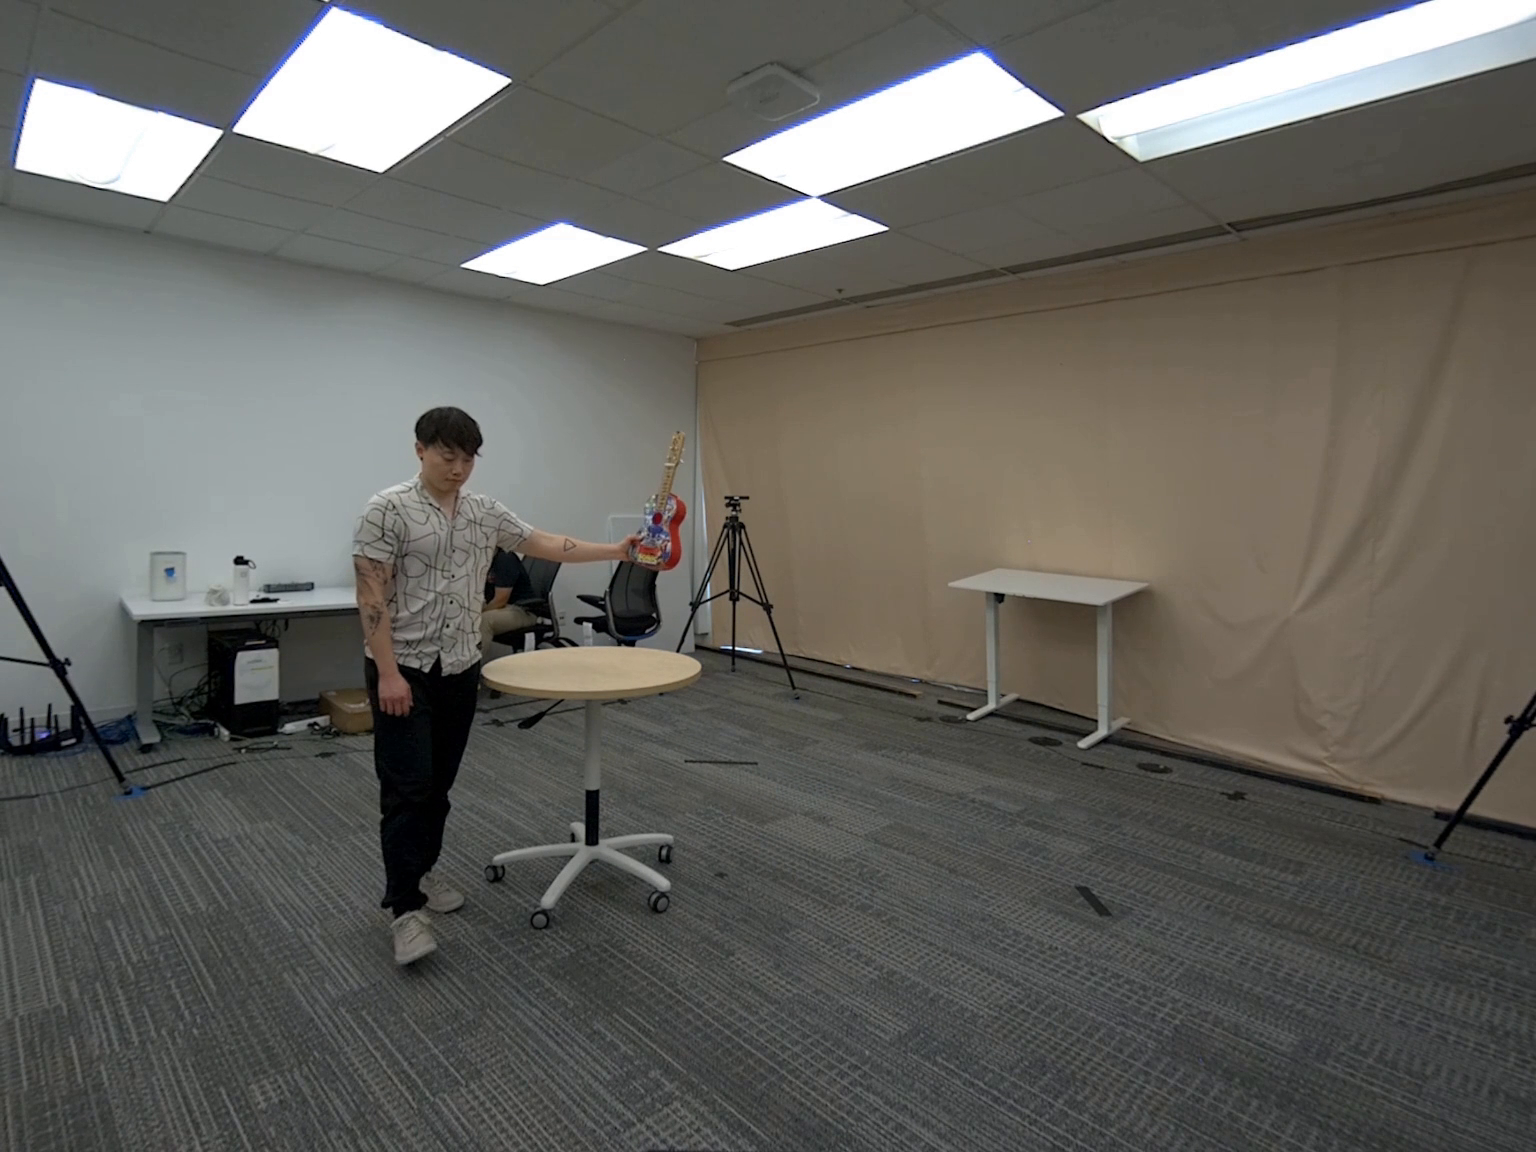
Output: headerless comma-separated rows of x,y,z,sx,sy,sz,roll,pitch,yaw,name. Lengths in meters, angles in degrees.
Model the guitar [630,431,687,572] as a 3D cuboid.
-0.346,-0.261,2.978,0.198,0.498,0.069,17,-4,32,guitar
